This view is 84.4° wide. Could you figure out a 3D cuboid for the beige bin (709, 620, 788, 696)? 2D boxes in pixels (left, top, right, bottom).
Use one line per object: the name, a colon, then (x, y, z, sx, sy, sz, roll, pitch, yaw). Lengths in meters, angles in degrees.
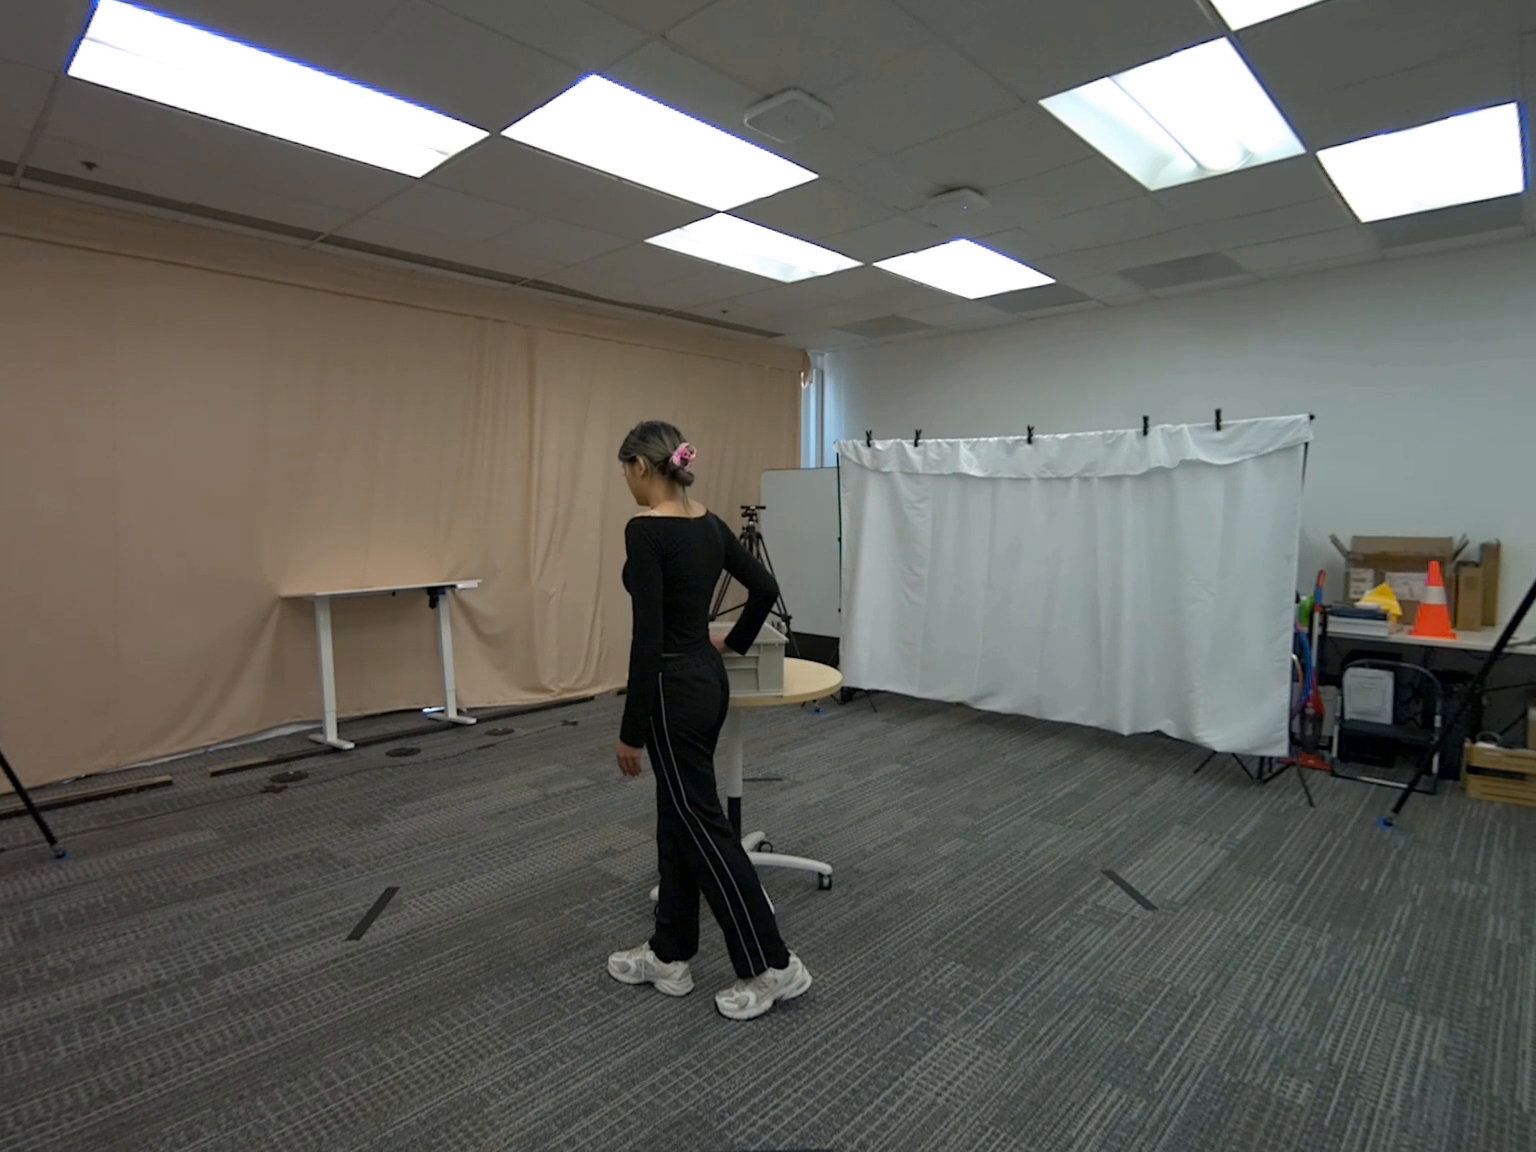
beige bin: (-0.168, 0.274, 2.826, 0.374, 0.188, 0.427, 0, 5, -8)
